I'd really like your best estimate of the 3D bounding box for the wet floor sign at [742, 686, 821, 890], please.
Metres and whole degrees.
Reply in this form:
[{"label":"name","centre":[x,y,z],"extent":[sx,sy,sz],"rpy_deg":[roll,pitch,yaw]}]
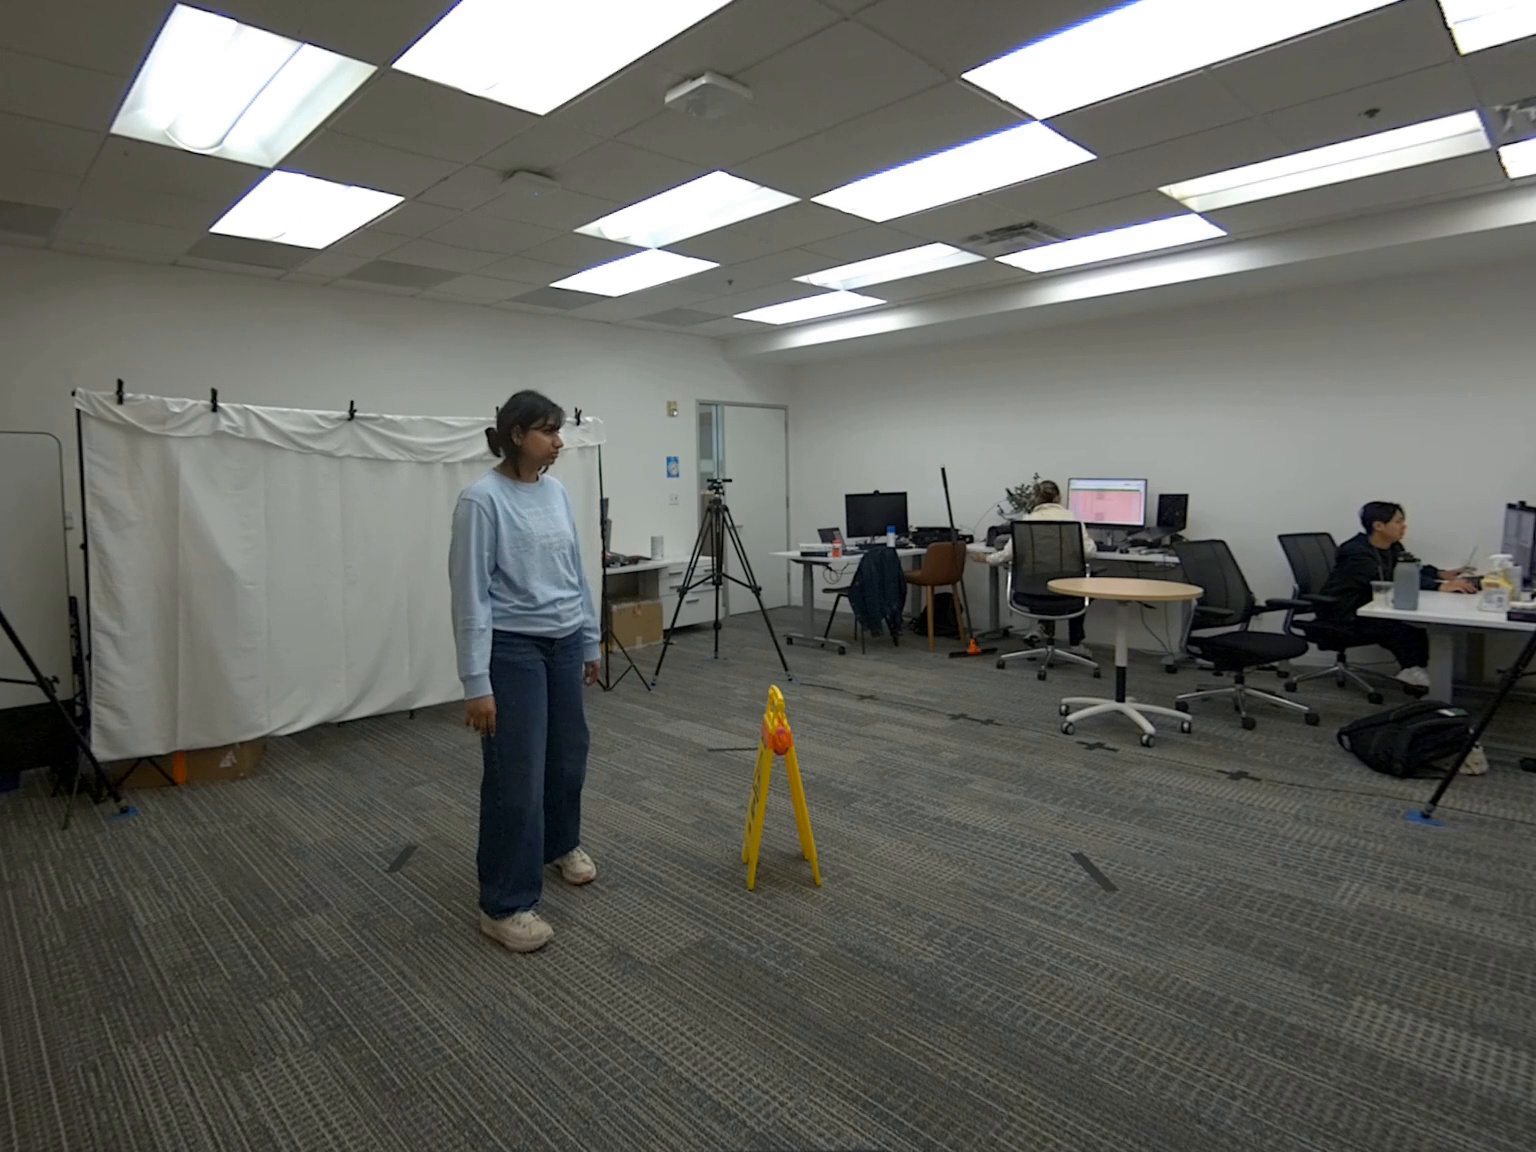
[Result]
[{"label":"wet floor sign","centre":[0.042,0.731,3.020],"extent":[0.288,0.644,0.284],"rpy_deg":[0,4,-5]}]
